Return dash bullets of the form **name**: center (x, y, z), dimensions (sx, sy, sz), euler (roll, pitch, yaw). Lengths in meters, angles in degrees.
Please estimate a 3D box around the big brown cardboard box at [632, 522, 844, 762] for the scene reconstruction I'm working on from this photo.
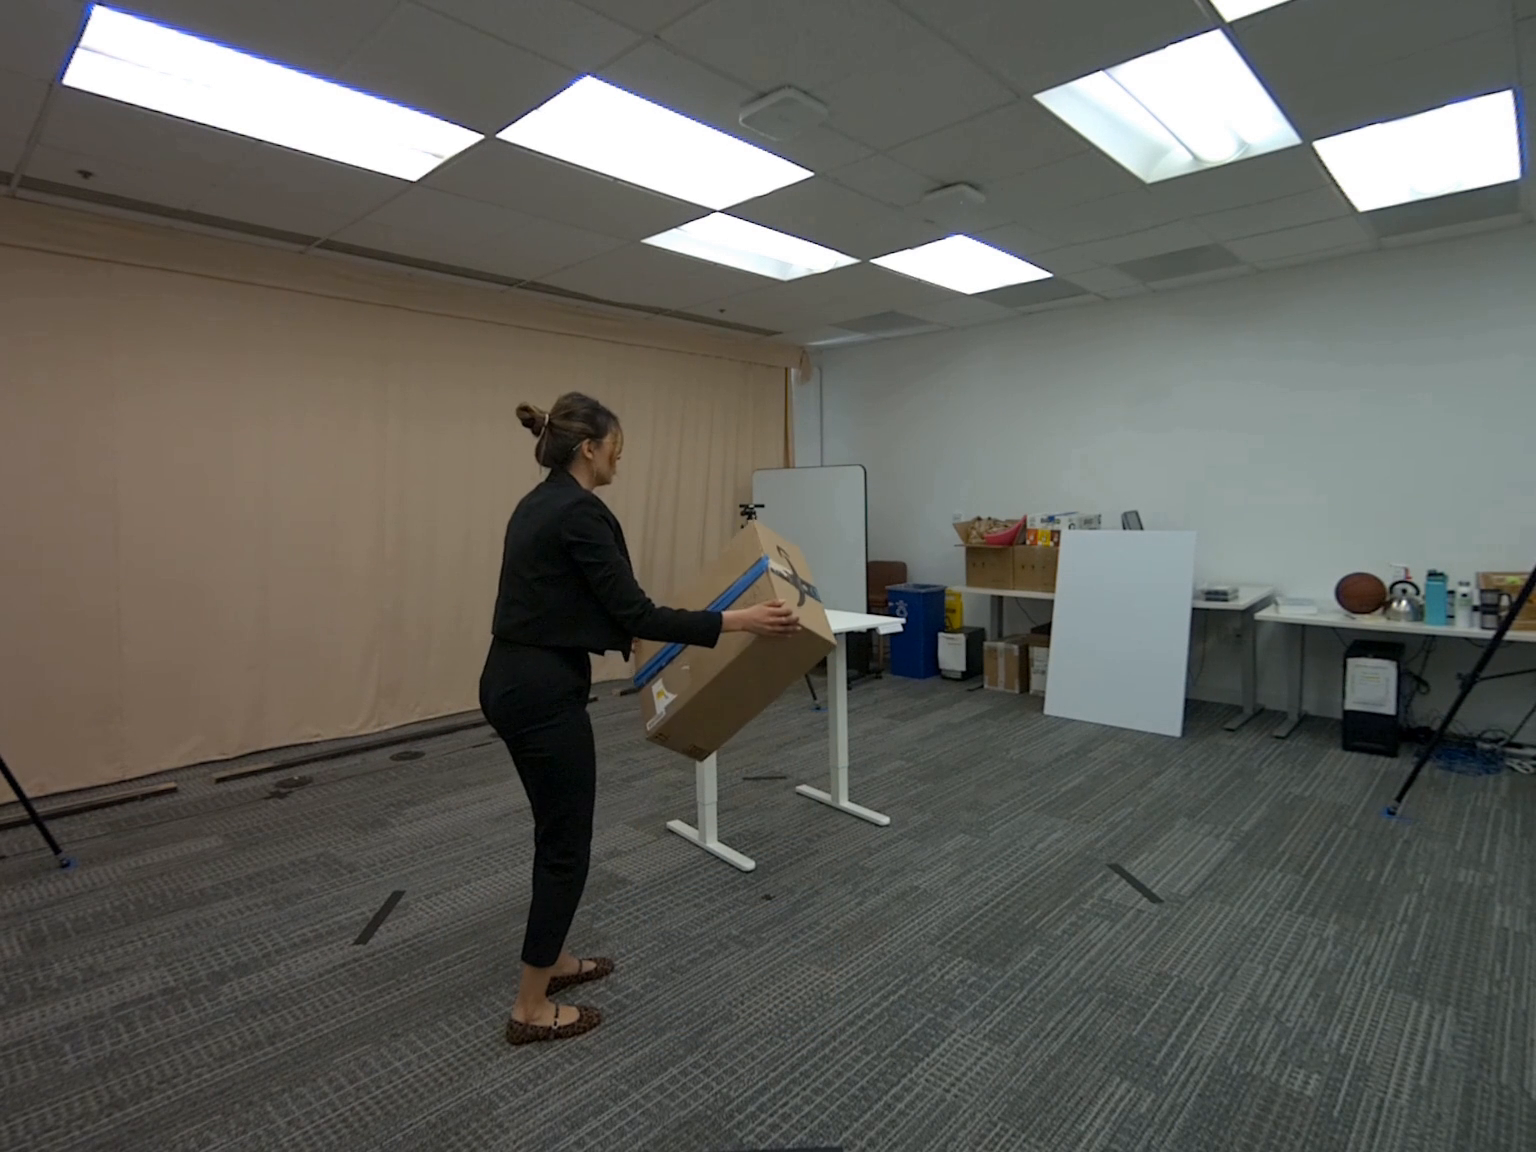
- **big brown cardboard box**: center (-0.124, 0.203, 2.464), dimensions (0.225, 0.593, 0.429), euler (34, 24, -34)
